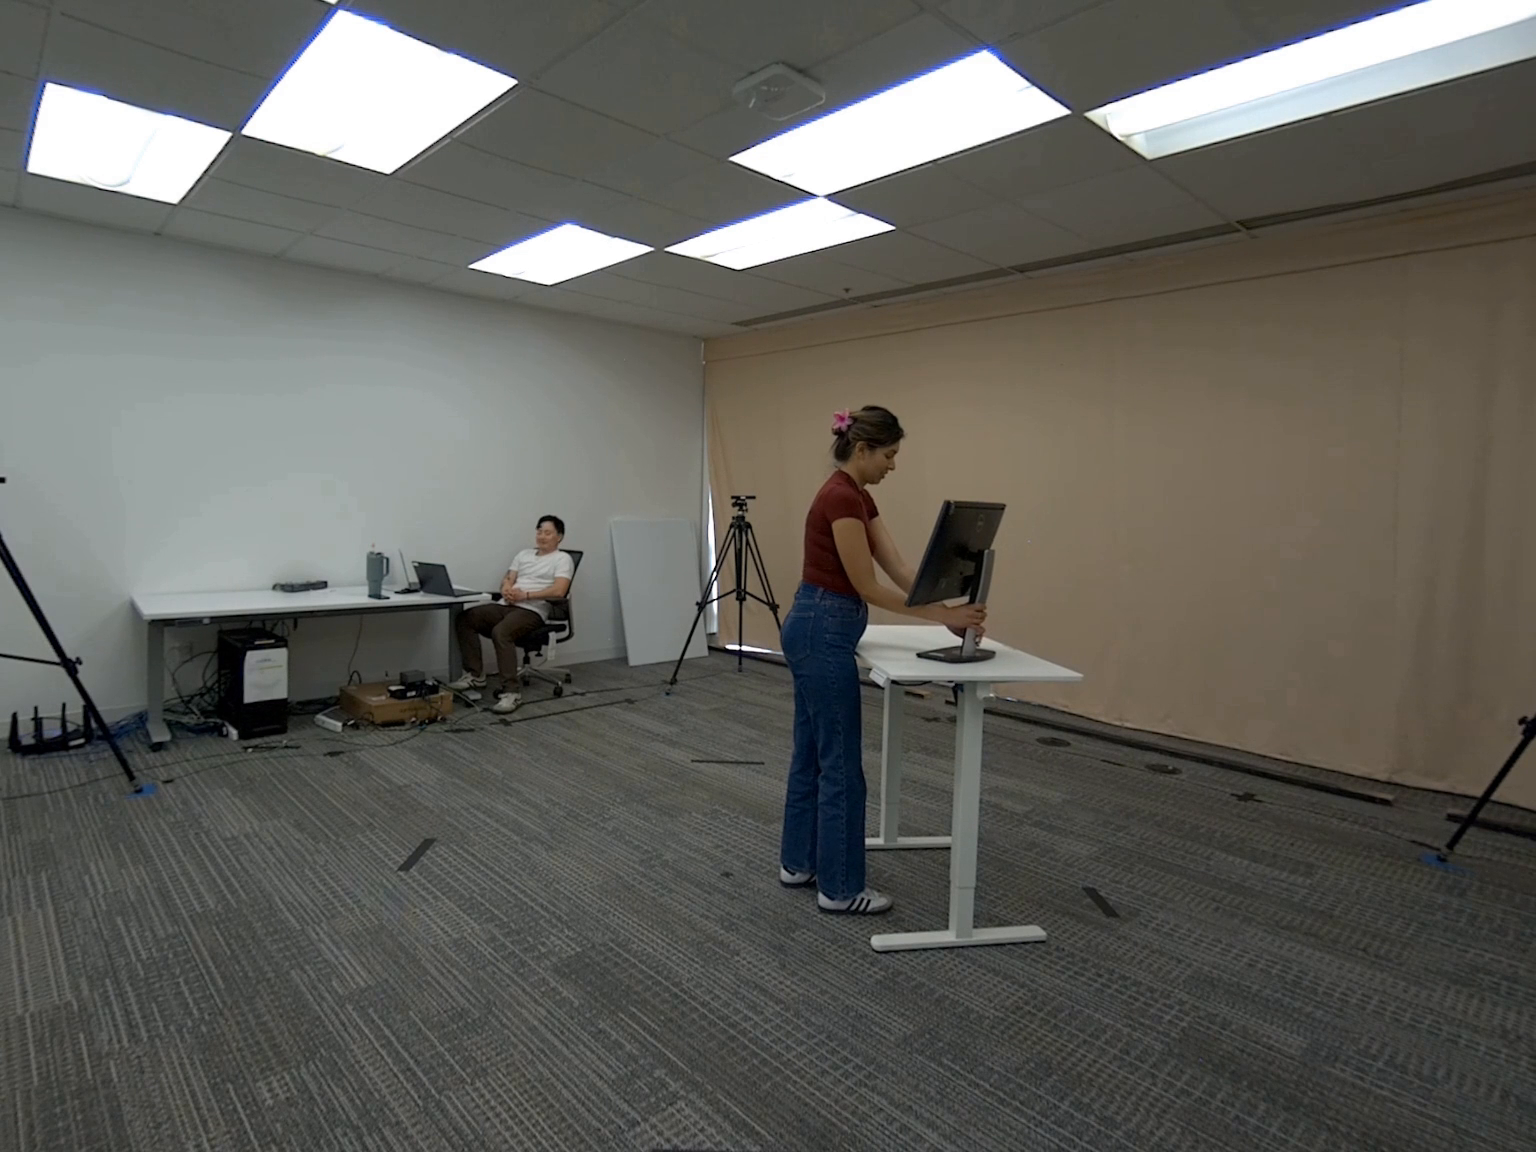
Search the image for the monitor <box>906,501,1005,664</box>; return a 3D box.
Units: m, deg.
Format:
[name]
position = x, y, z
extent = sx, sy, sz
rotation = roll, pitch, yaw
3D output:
[monitor]
position = 0.648, 0.015, 2.759
extent = 0.191, 0.521, 0.528
rotation = 7, 6, 32
